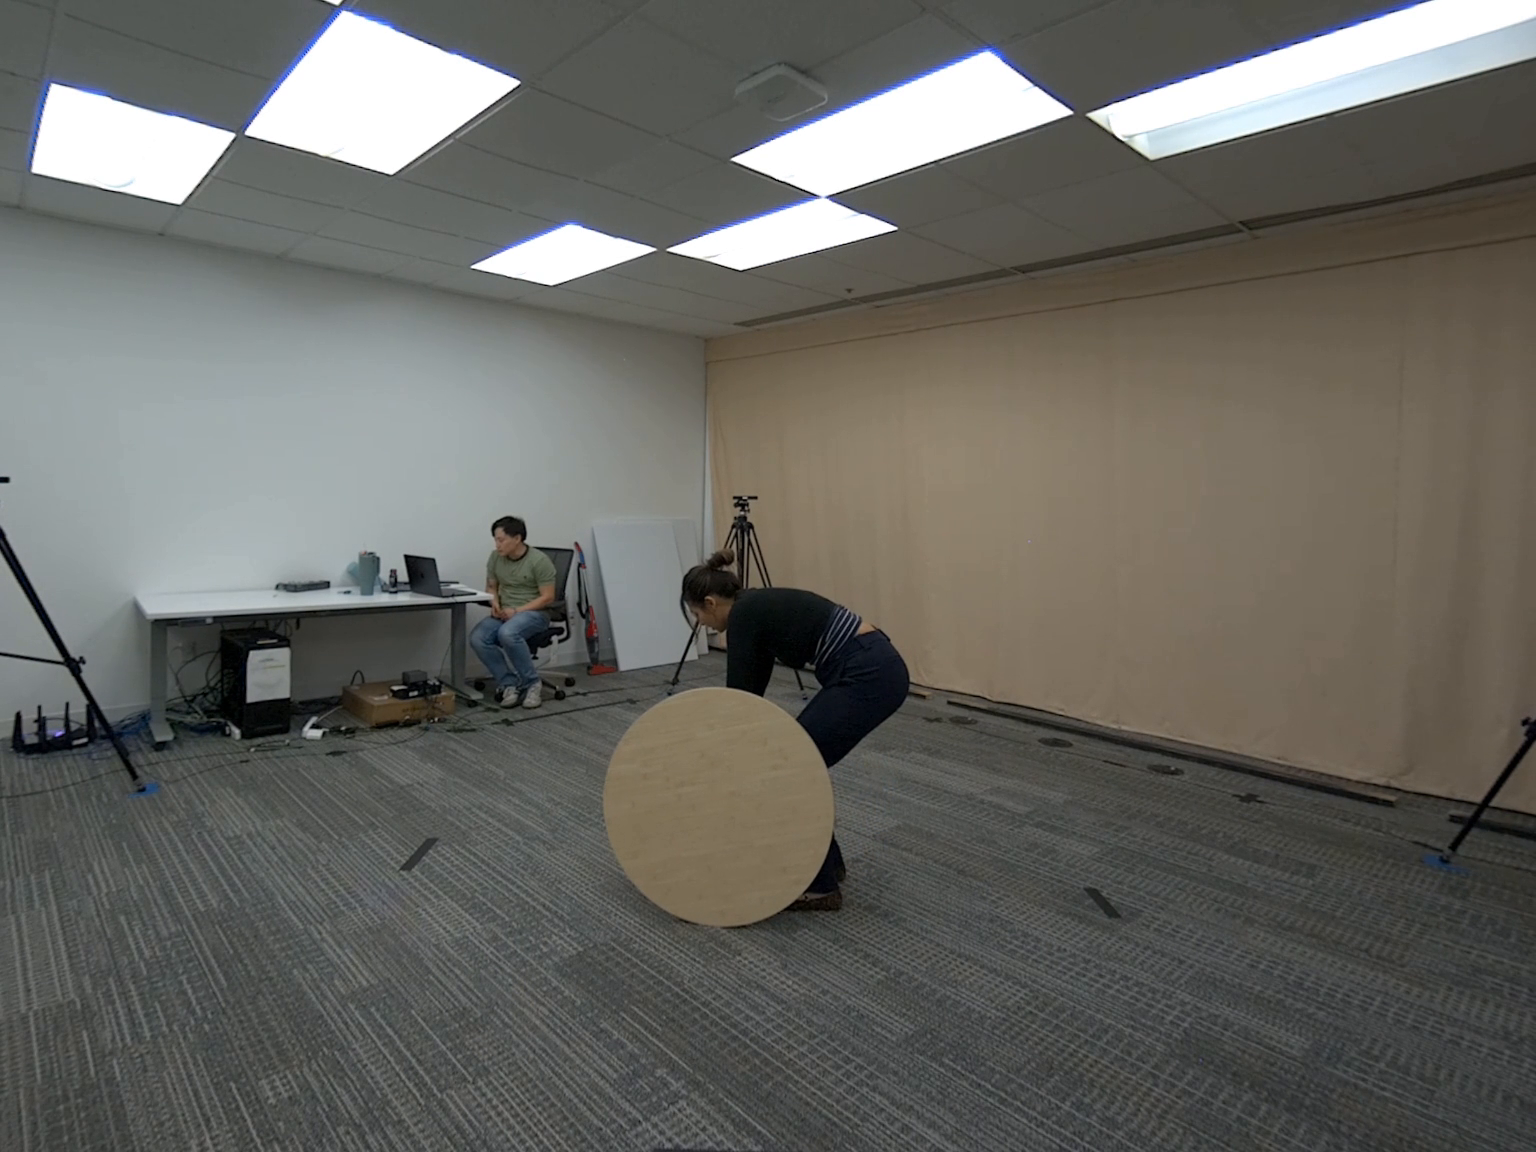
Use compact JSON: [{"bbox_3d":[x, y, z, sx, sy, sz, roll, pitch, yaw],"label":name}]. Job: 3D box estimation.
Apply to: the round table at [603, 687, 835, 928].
[{"bbox_3d":[-0.124,0.765,3.132,0.769,0.765,0.788,2,-1,7],"label":"round table"}]
